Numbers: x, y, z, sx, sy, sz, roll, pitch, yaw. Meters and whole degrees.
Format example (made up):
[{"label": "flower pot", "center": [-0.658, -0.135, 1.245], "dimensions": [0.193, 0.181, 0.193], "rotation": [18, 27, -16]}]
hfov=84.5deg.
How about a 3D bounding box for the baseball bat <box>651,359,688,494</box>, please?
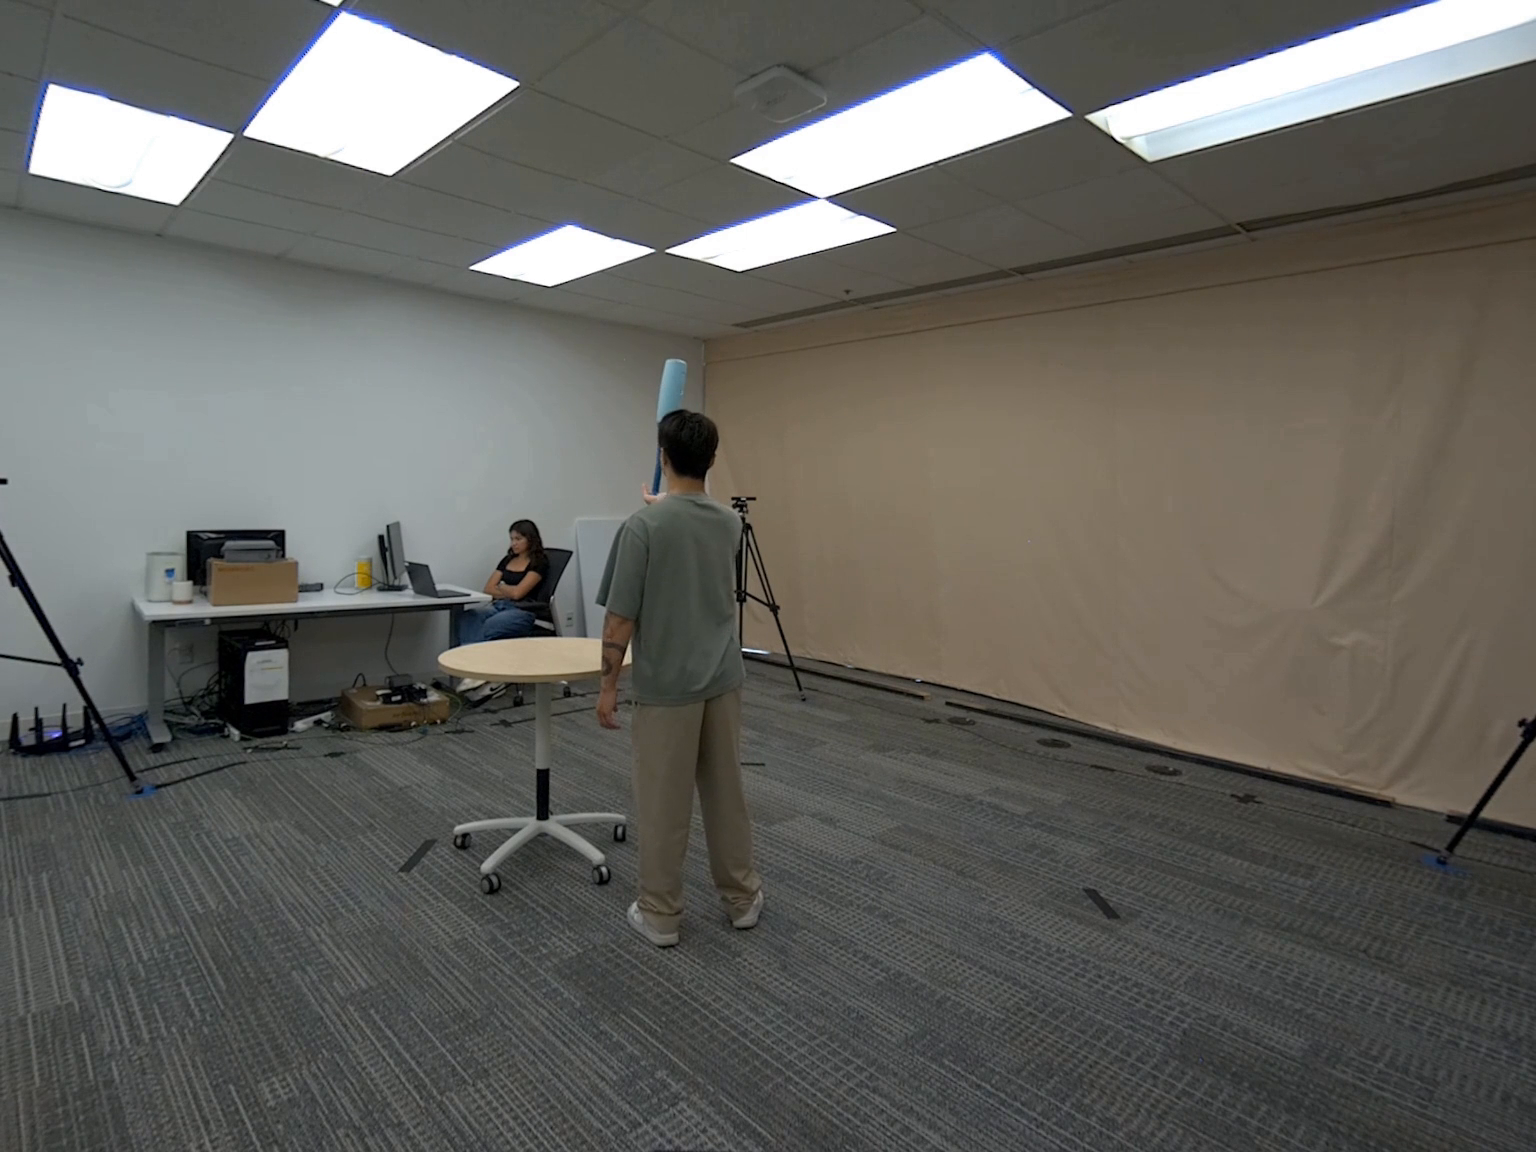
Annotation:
[{"label": "baseball bat", "center": [-0.390, -0.554, 3.193], "dimensions": [0.089, 0.545, 0.089], "rotation": [8, -6, -1]}]
